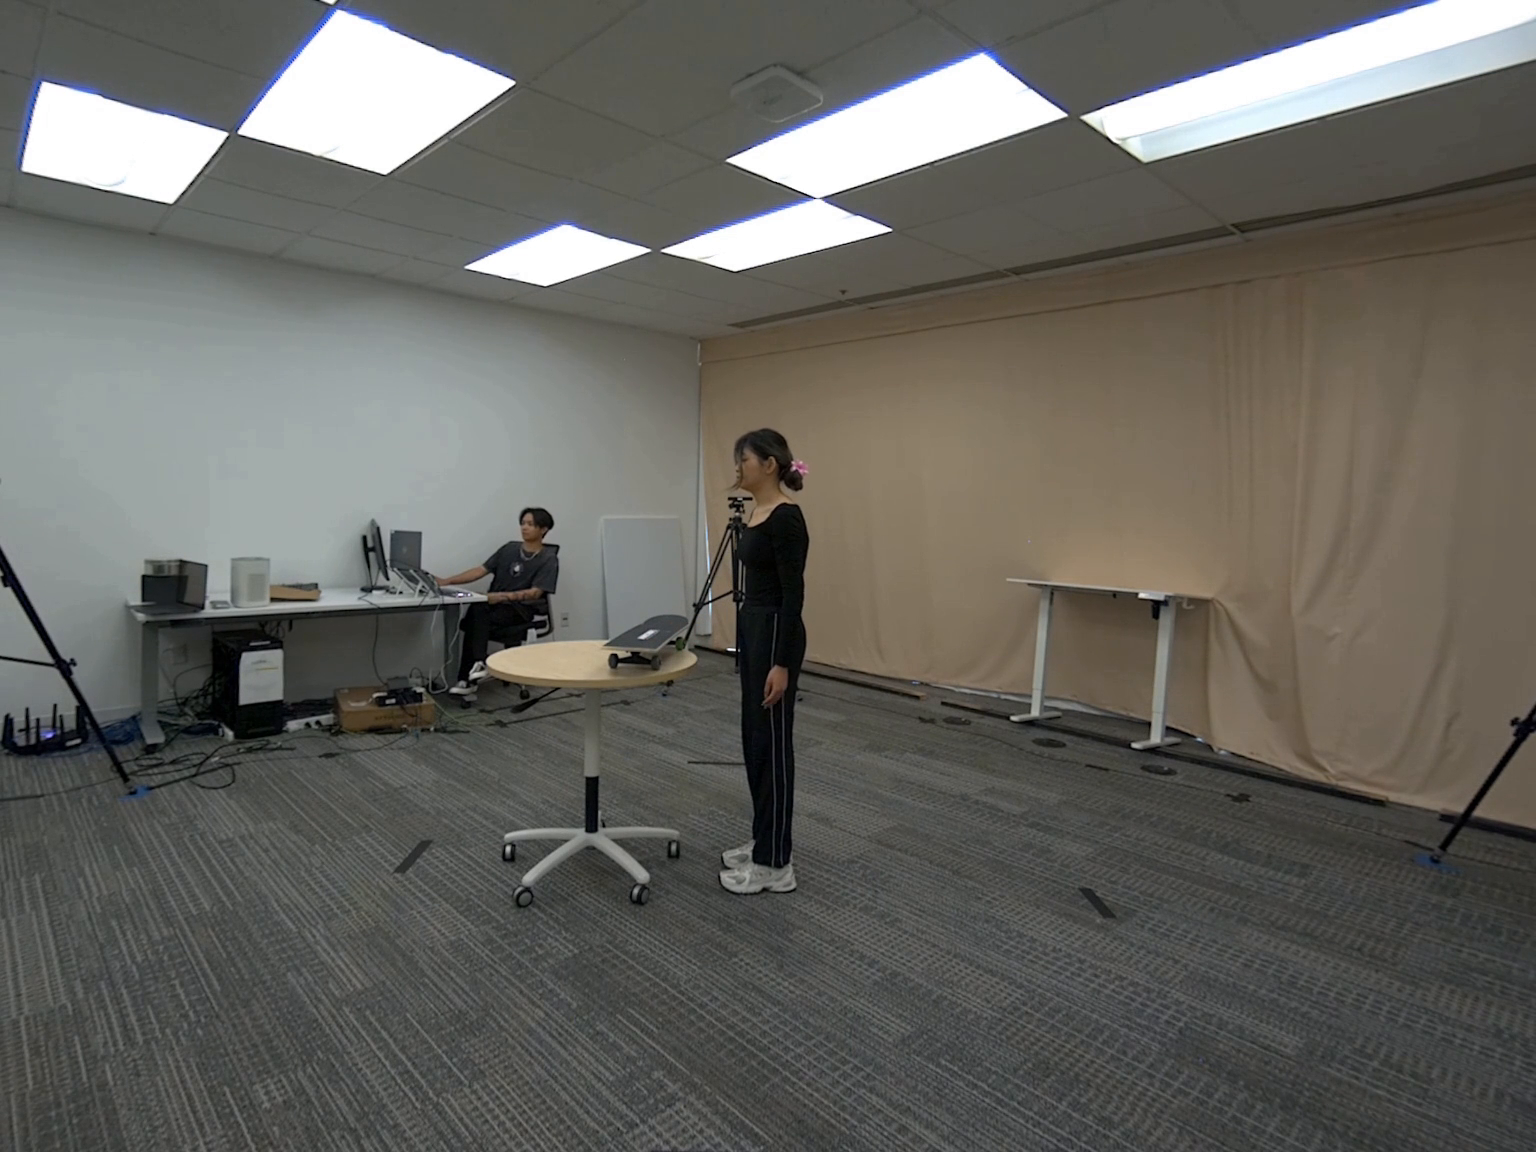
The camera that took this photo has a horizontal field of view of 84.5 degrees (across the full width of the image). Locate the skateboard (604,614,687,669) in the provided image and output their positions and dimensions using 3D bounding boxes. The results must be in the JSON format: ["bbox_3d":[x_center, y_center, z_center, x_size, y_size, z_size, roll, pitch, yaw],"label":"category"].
[{"bbox_3d":[-0.440,0.254,3.129,0.195,0.110,0.782,1,5,7],"label":"skateboard"}]
